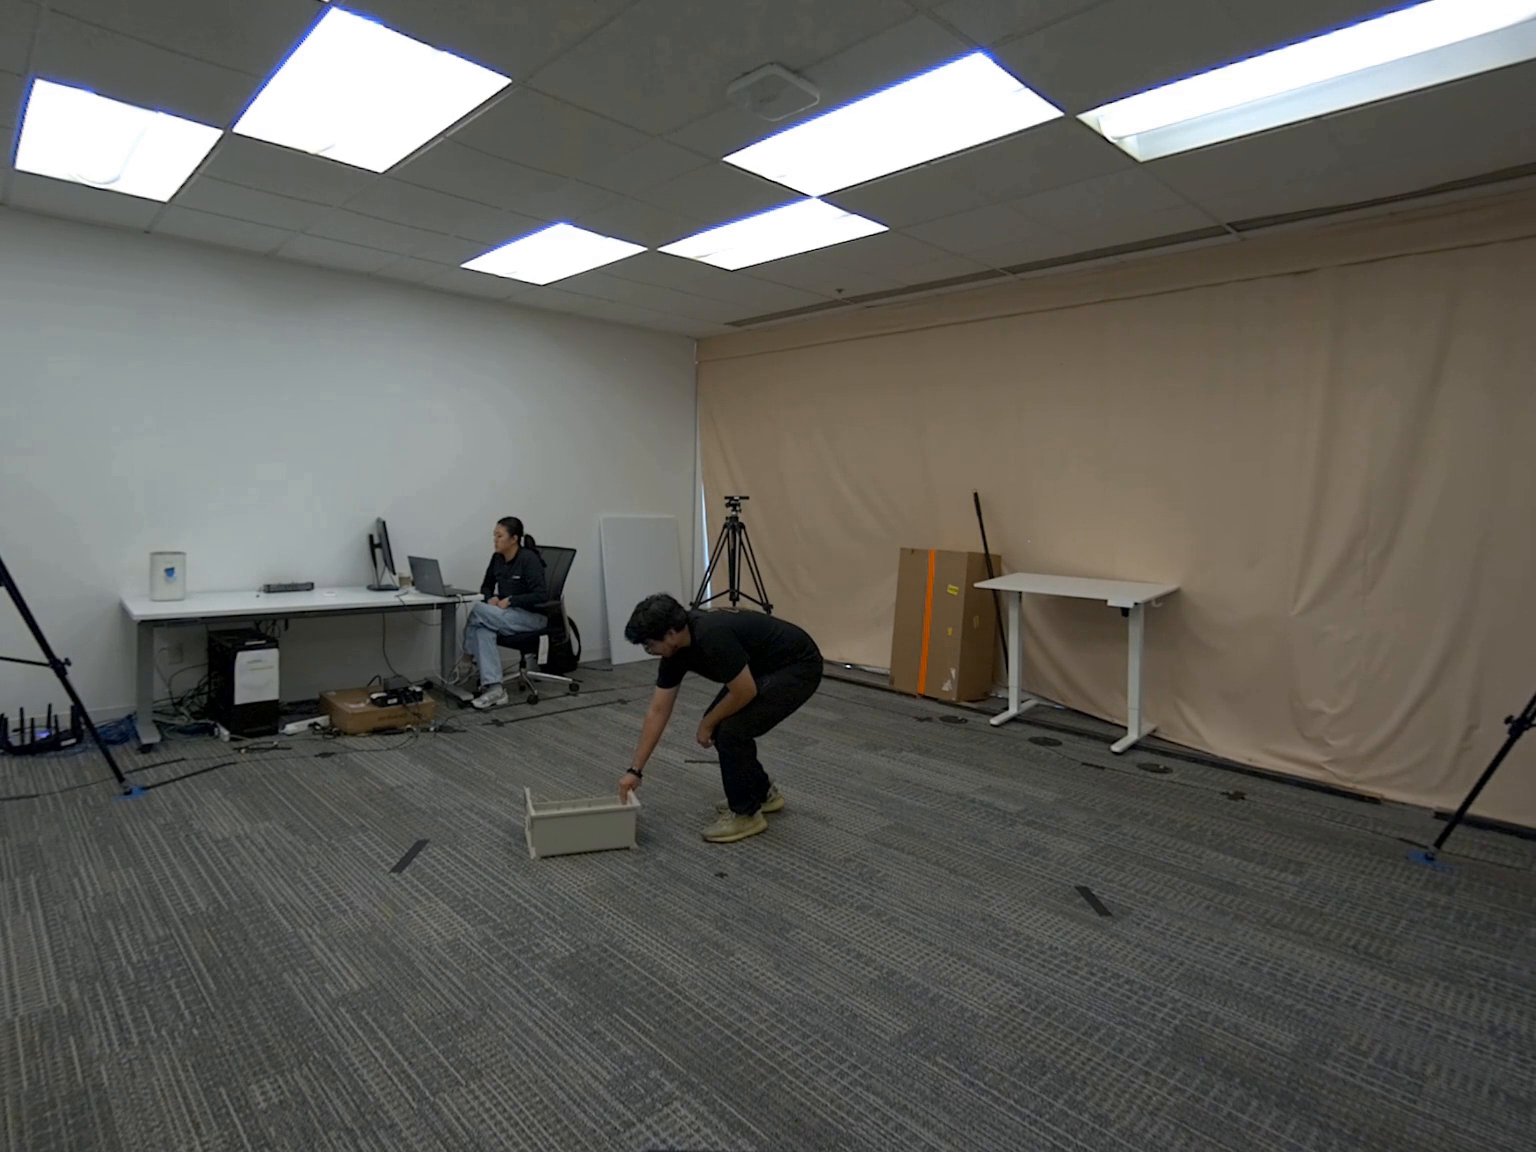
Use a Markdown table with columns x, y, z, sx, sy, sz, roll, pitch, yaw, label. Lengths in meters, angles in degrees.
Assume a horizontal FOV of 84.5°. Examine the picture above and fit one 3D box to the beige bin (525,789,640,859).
| x | y | z | sx | sy | sz | roll | pitch | yaw | label |
| --- | --- | --- | --- | --- | --- | --- | --- | --- | --- |
| -0.769 | 0.970 | 3.414 | 0.416 | 0.188 | 0.384 | 0 | 6 | -20 | beige bin |
